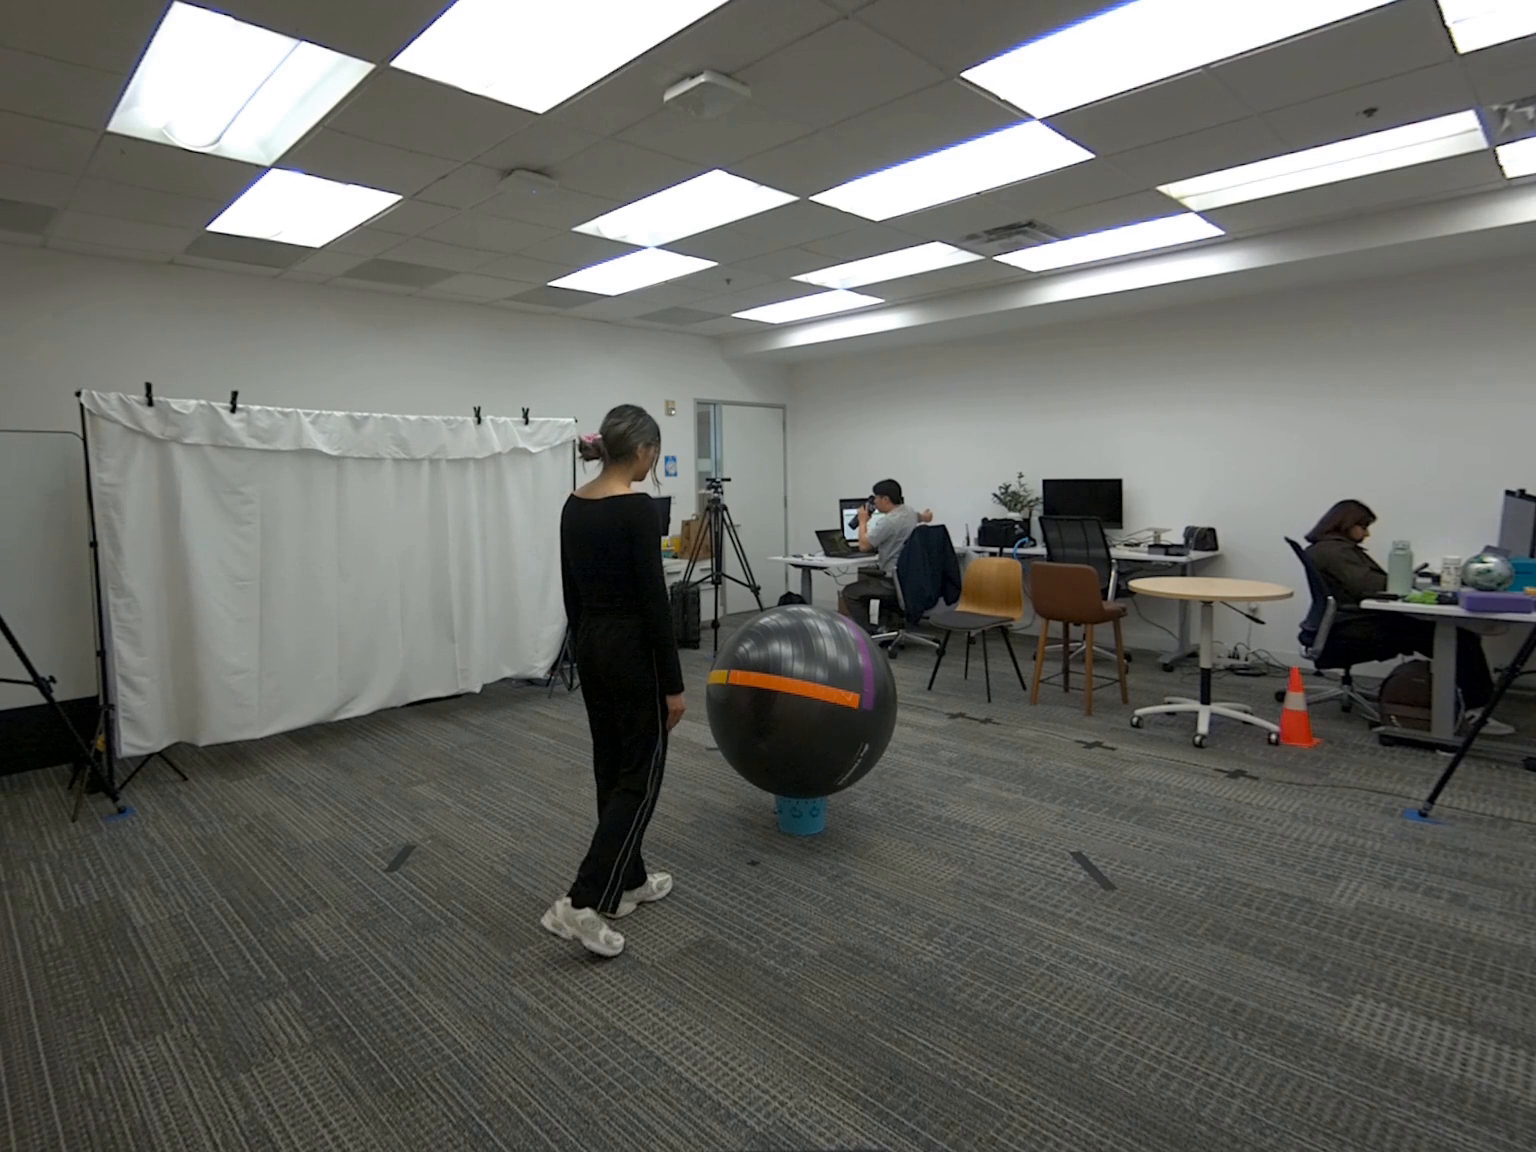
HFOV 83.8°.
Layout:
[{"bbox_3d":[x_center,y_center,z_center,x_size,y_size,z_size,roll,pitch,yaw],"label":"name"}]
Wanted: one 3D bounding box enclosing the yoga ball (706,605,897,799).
[{"bbox_3d":[0.128,0.493,3.409,0.757,0.755,0.762,-1,5,-2],"label":"yoga ball"}]
